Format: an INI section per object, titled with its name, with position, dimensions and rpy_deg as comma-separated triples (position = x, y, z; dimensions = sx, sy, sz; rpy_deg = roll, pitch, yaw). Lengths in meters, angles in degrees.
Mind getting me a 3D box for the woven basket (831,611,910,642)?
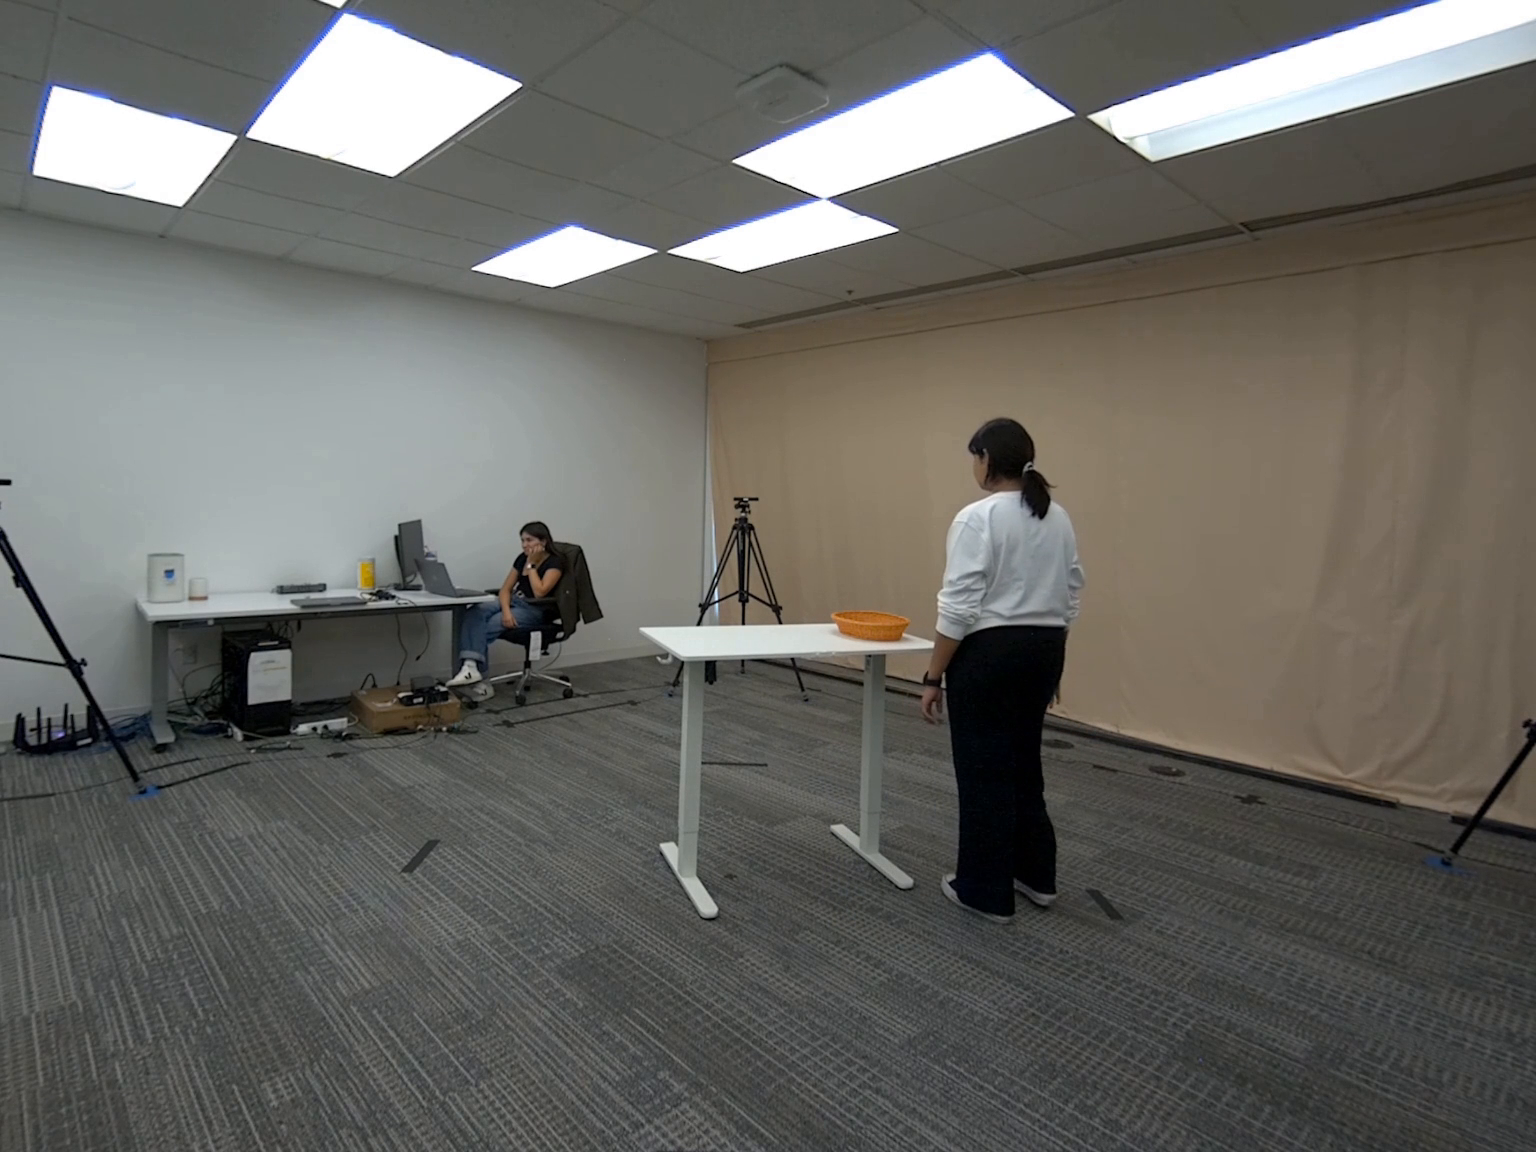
[woven basket]
position = 0.394, 0.199, 3.233
dimensions = 0.250, 0.073, 0.355
rpy_deg = -2, 6, -14
